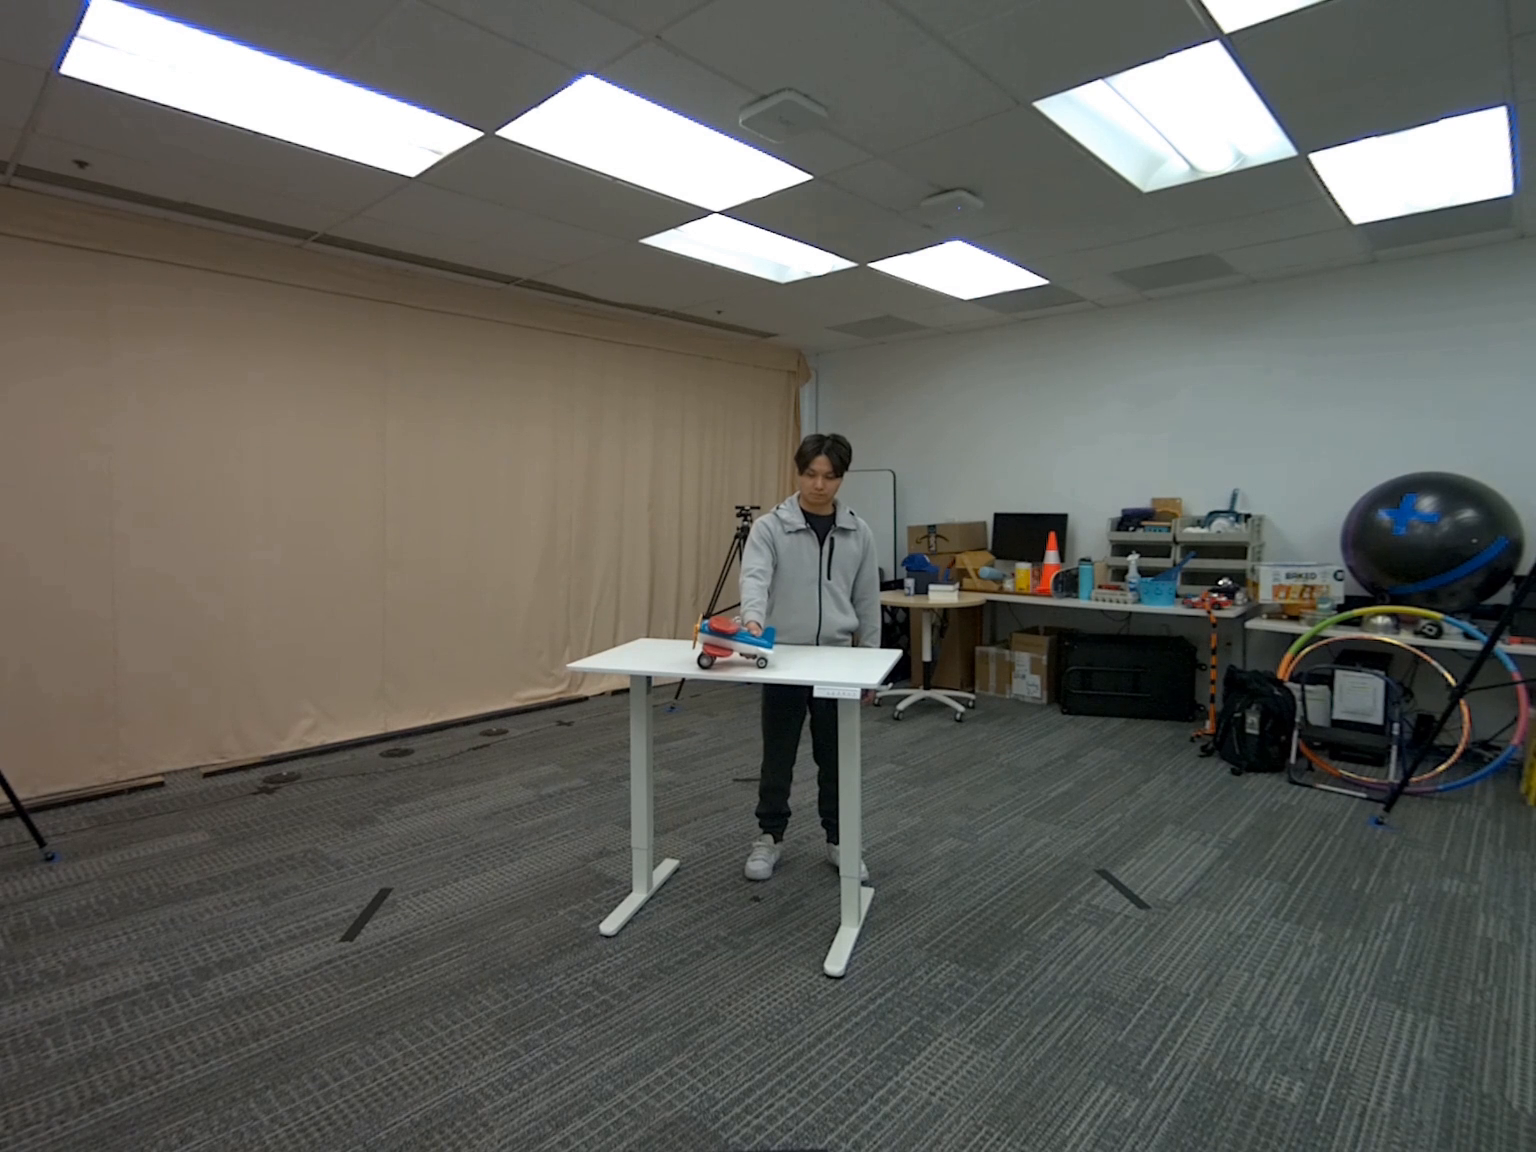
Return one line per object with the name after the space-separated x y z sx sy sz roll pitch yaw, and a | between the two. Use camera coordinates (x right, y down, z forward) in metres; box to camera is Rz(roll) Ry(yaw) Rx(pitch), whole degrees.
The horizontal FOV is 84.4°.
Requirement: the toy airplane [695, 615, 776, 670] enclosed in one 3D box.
-0.110 0.208 2.683 0.253 0.156 0.257 -4 5 -24 | toy airplane
